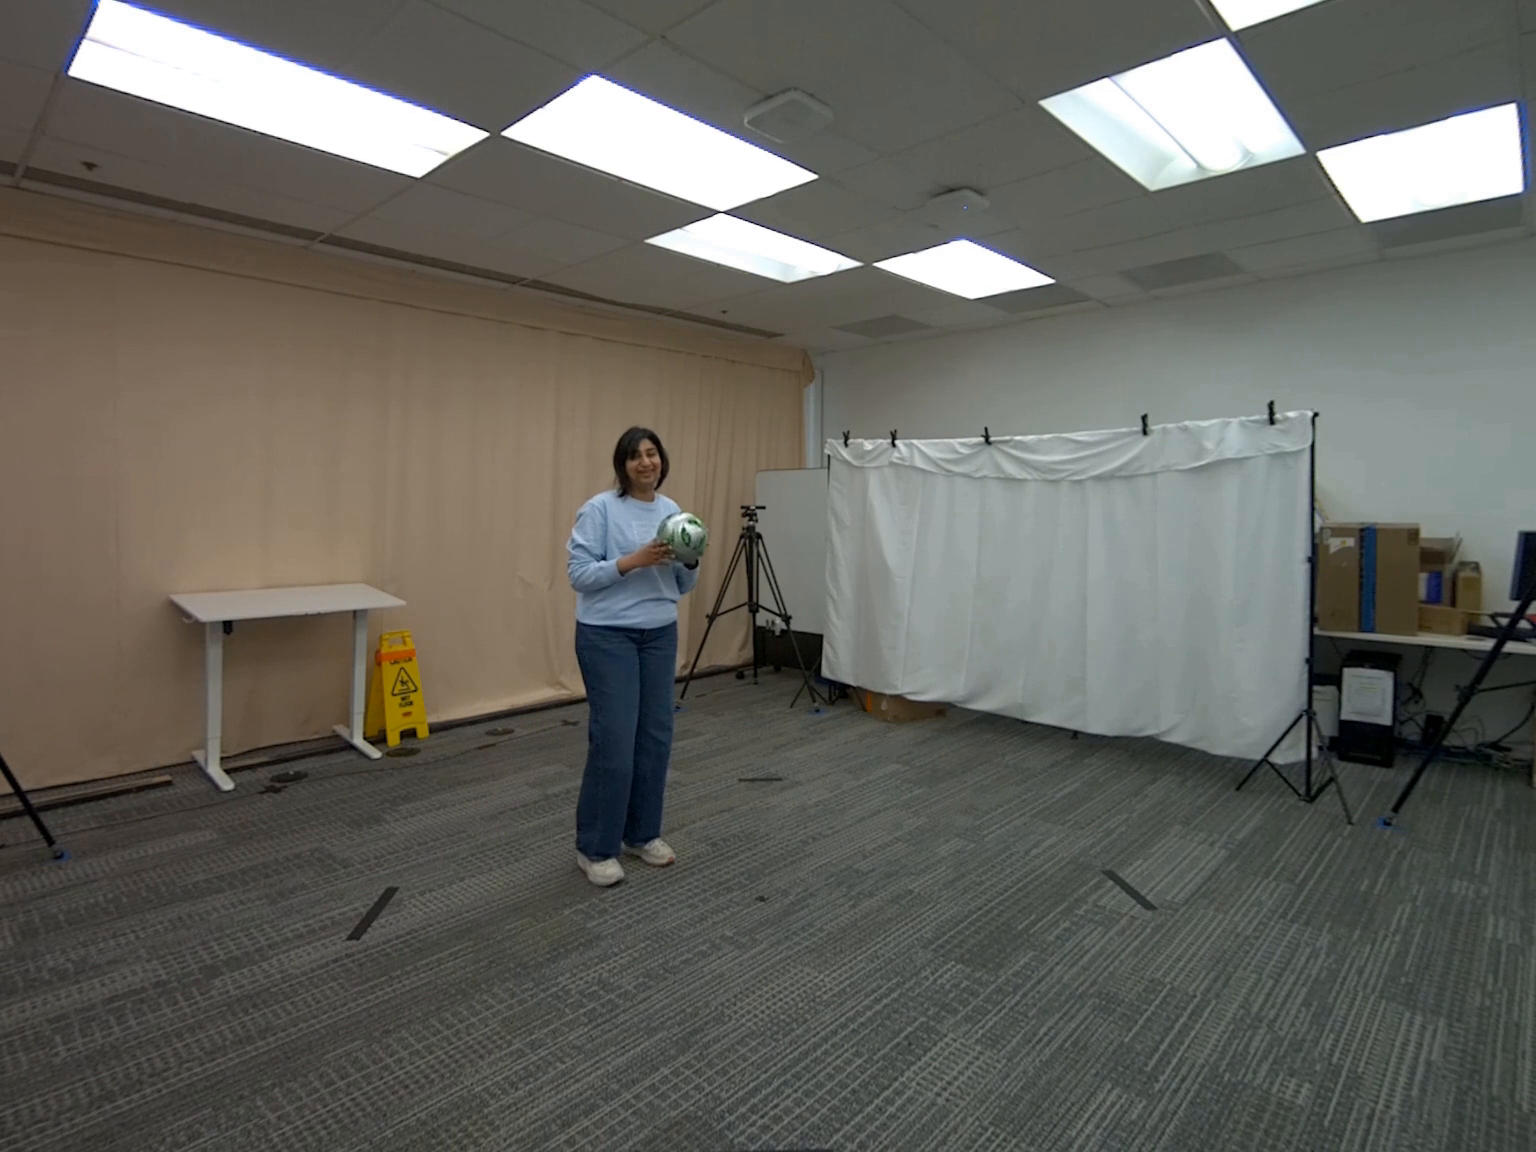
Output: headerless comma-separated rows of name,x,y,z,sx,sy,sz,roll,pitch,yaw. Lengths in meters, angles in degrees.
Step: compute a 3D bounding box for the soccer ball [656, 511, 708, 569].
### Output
soccer ball,-0.309,-0.140,3.062,0.187,0.187,0.188,0,4,-2
